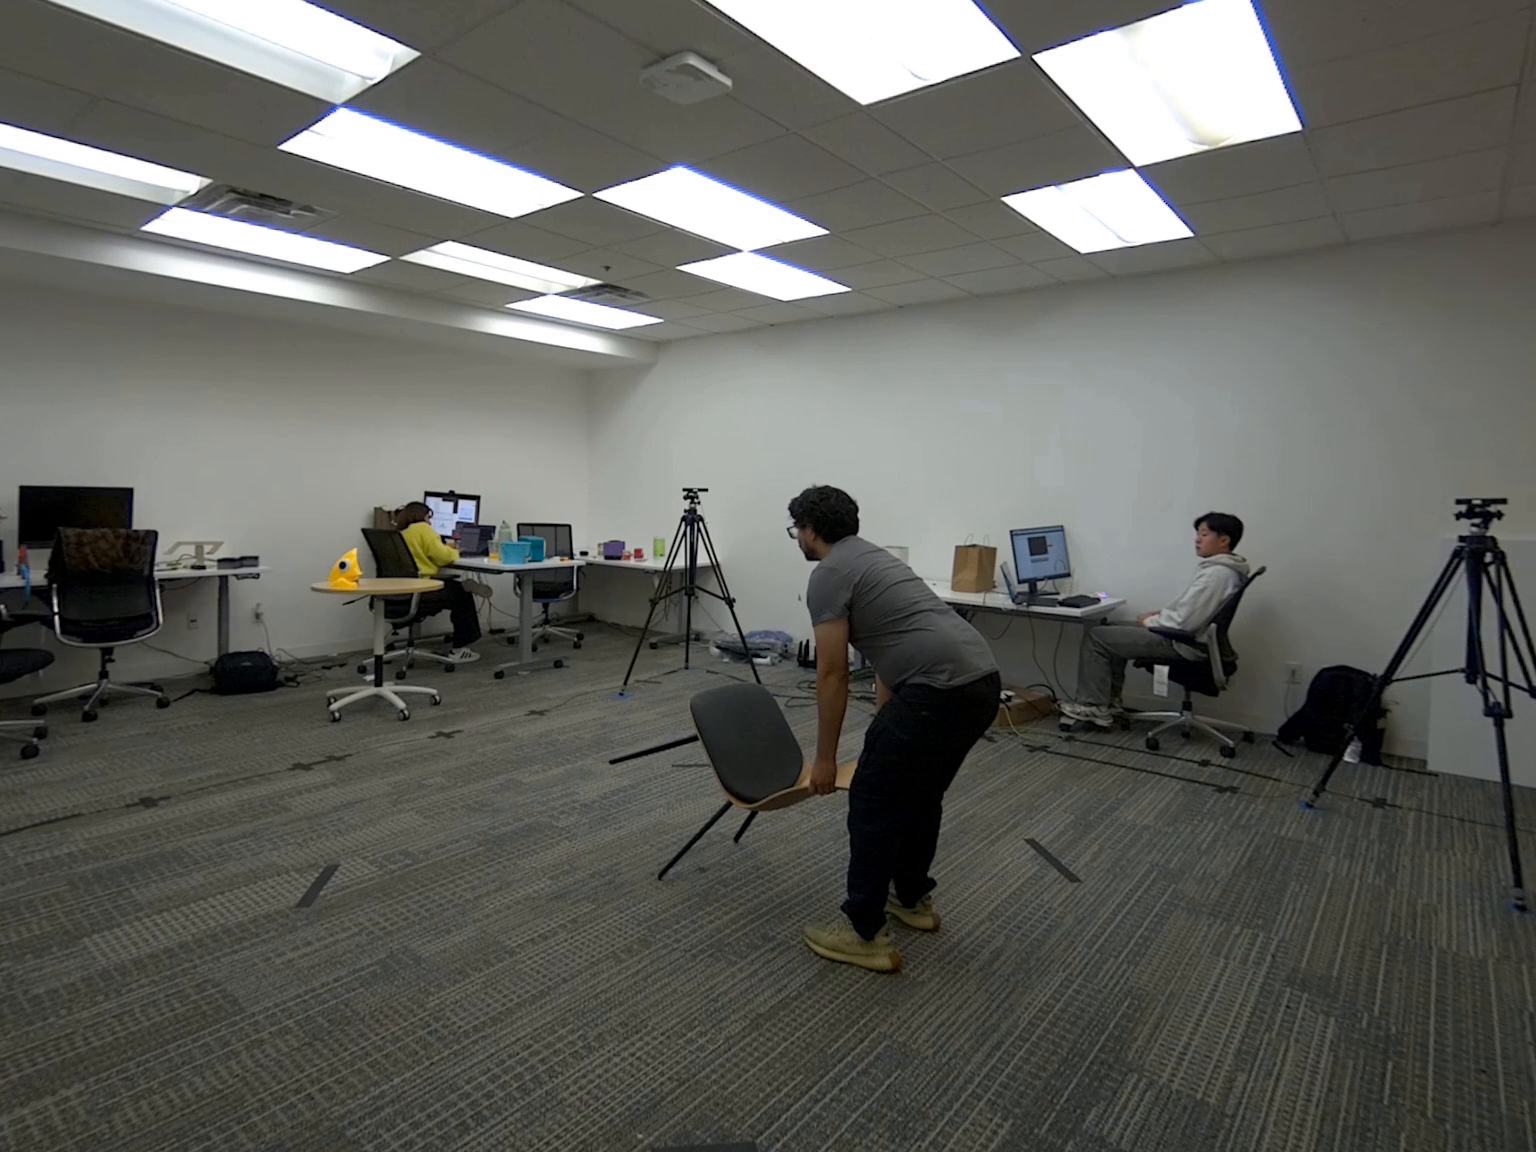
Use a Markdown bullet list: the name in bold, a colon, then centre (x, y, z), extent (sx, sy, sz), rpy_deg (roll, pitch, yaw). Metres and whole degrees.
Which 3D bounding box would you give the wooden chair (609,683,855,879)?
- **wooden chair**: centre (-0.087, 0.638, 3.039), extent (0.885, 0.534, 0.464), rpy_deg (-34, -18, 34)
